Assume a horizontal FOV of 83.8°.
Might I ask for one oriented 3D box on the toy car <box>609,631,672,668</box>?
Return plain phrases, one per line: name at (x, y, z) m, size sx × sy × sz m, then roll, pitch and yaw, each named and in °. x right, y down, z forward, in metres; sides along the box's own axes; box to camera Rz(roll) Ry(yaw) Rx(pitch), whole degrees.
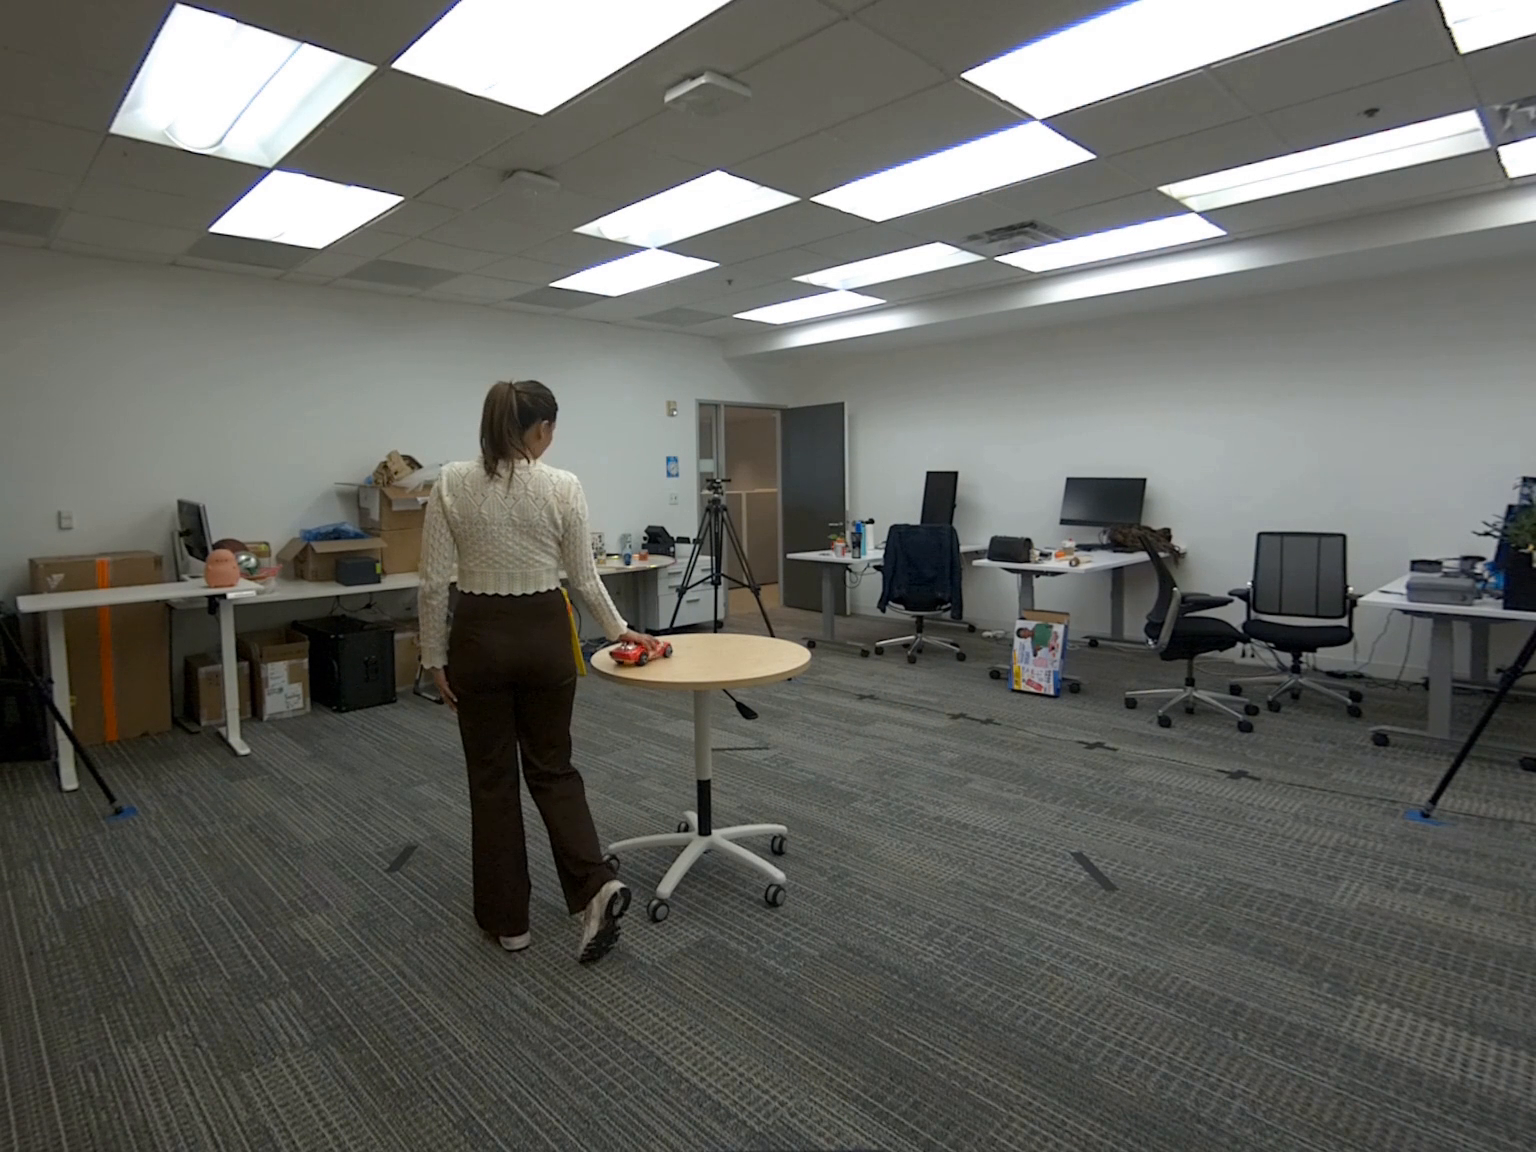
toy car at (-0.435, 0.260, 2.900) m, size 0.134 × 0.083 × 0.247 m, roll 3°, pitch -3°, yaw 30°
